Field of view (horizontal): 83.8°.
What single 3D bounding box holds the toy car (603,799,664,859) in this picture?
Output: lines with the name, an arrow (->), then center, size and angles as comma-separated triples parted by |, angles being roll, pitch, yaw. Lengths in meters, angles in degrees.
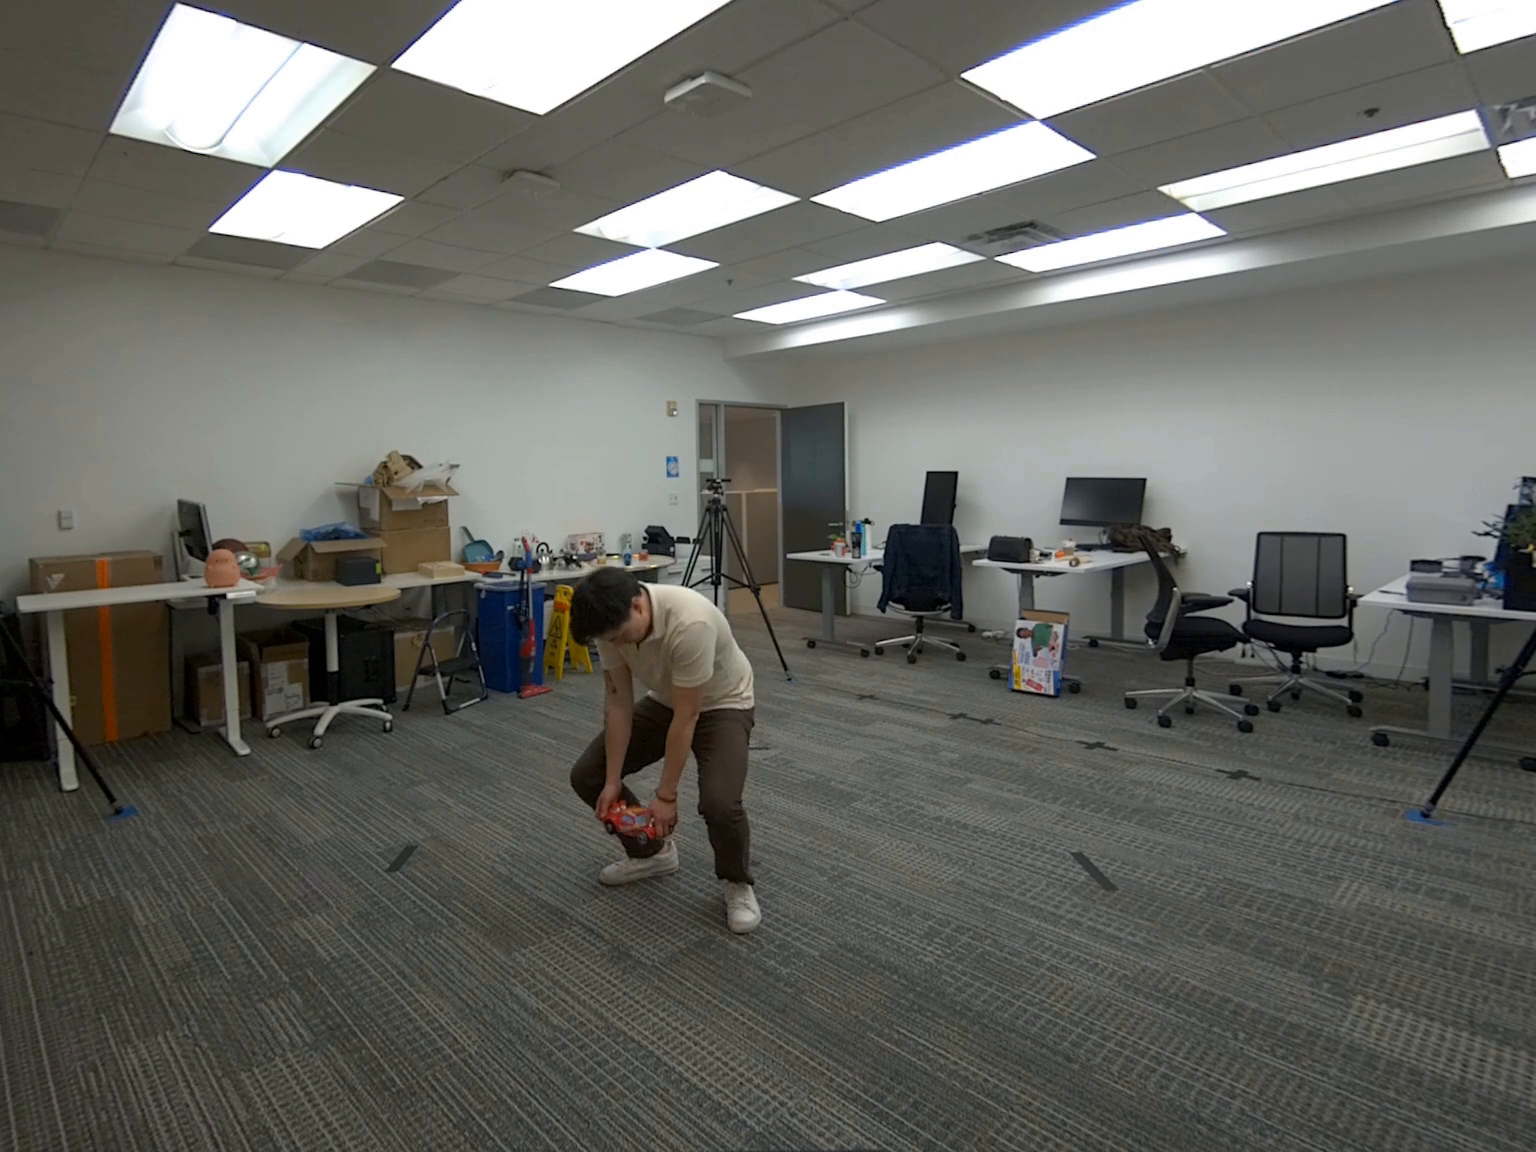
toy car -> -0.421, 0.779, 2.697 | 0.263, 0.082, 0.127 | 14, 17, 36
